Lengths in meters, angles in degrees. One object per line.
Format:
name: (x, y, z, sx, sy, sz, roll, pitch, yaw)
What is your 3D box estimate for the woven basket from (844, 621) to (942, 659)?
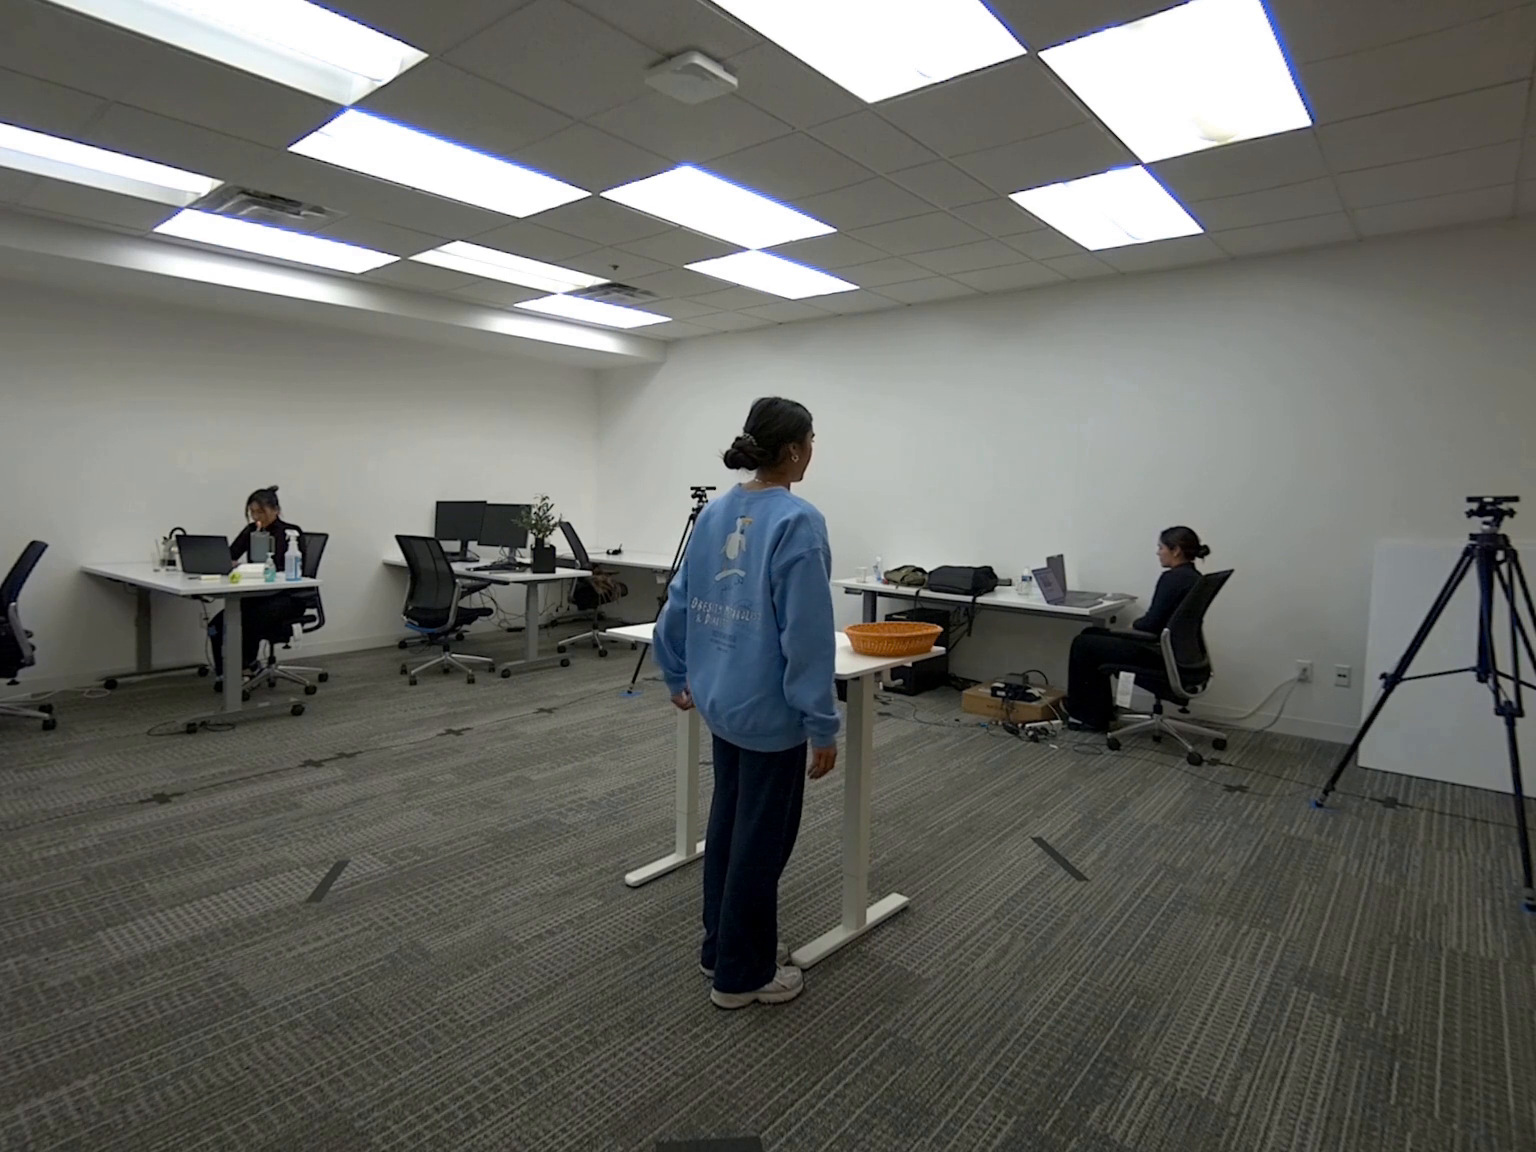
woven basket: (0.392, 0.205, 2.708, 0.340, 0.073, 0.261, -3, 6, -38)
